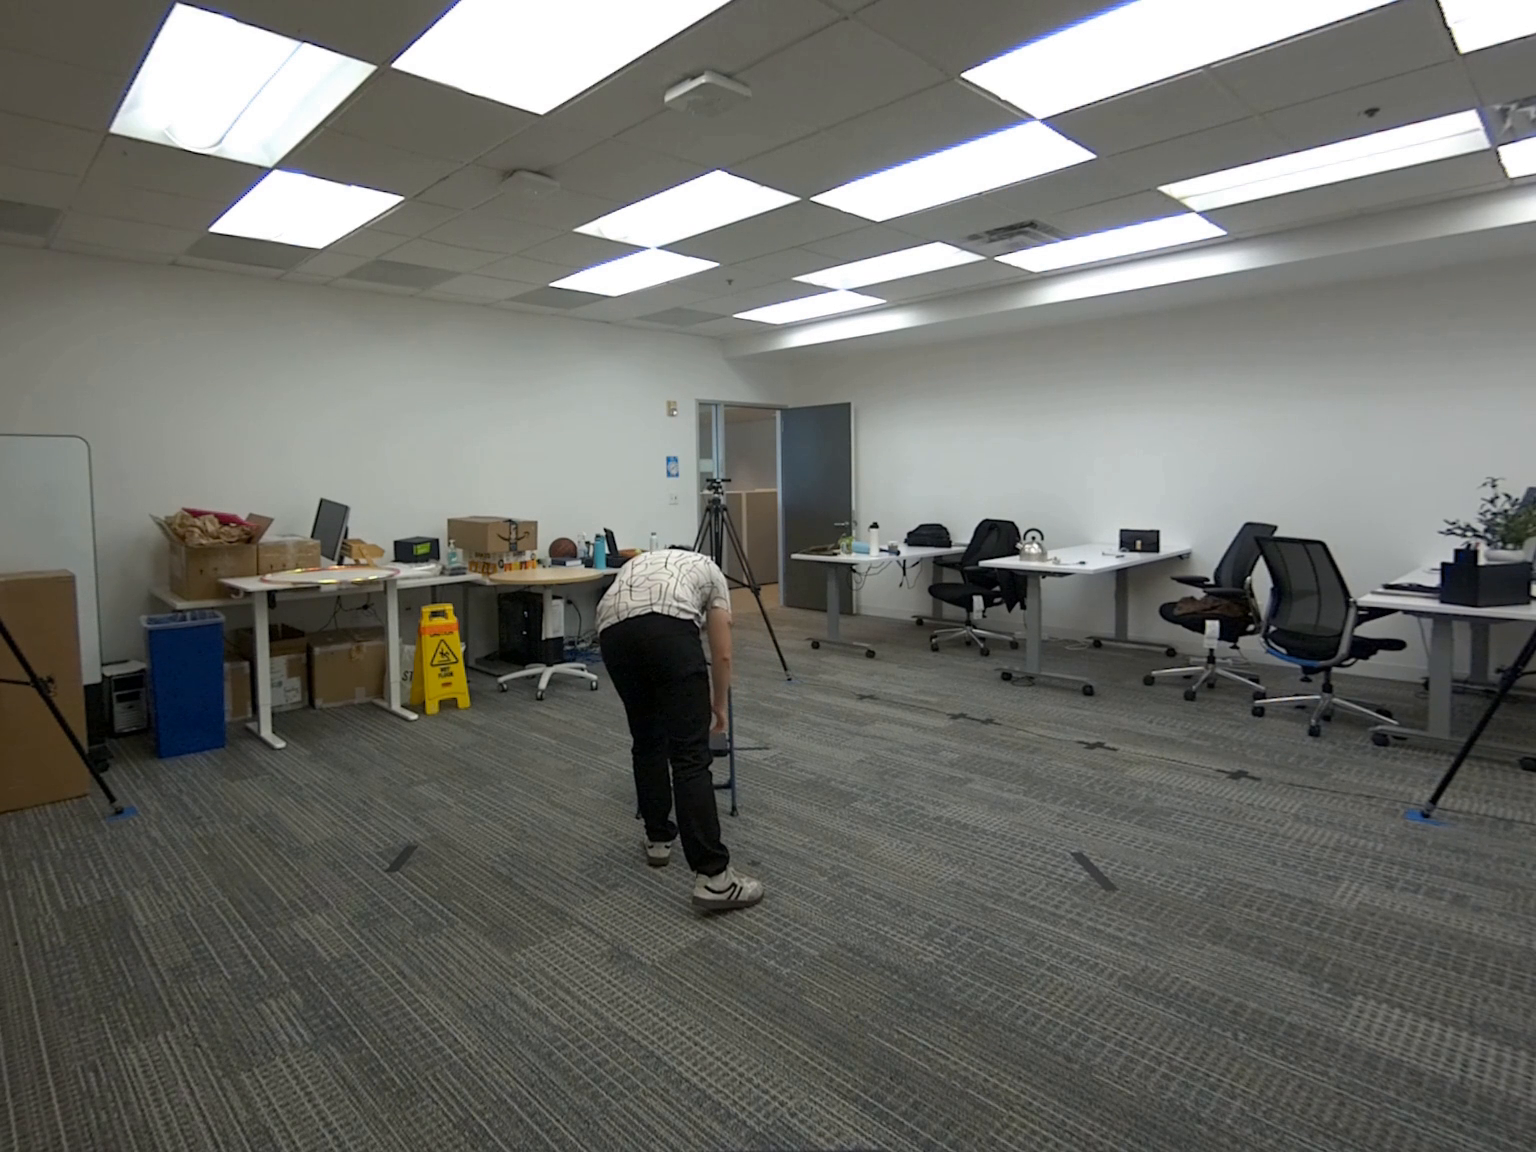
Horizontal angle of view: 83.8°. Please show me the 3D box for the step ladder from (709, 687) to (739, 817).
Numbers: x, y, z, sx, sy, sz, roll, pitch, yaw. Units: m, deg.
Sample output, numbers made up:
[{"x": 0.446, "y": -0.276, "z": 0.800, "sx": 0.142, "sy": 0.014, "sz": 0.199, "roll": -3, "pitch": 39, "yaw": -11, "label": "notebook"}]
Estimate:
[{"x": -0.352, "y": 0.681, "z": 3.699, "sx": 0.430, "sy": 0.604, "sz": 0.351, "roll": -1, "pitch": 5, "yaw": -3, "label": "step ladder"}]
